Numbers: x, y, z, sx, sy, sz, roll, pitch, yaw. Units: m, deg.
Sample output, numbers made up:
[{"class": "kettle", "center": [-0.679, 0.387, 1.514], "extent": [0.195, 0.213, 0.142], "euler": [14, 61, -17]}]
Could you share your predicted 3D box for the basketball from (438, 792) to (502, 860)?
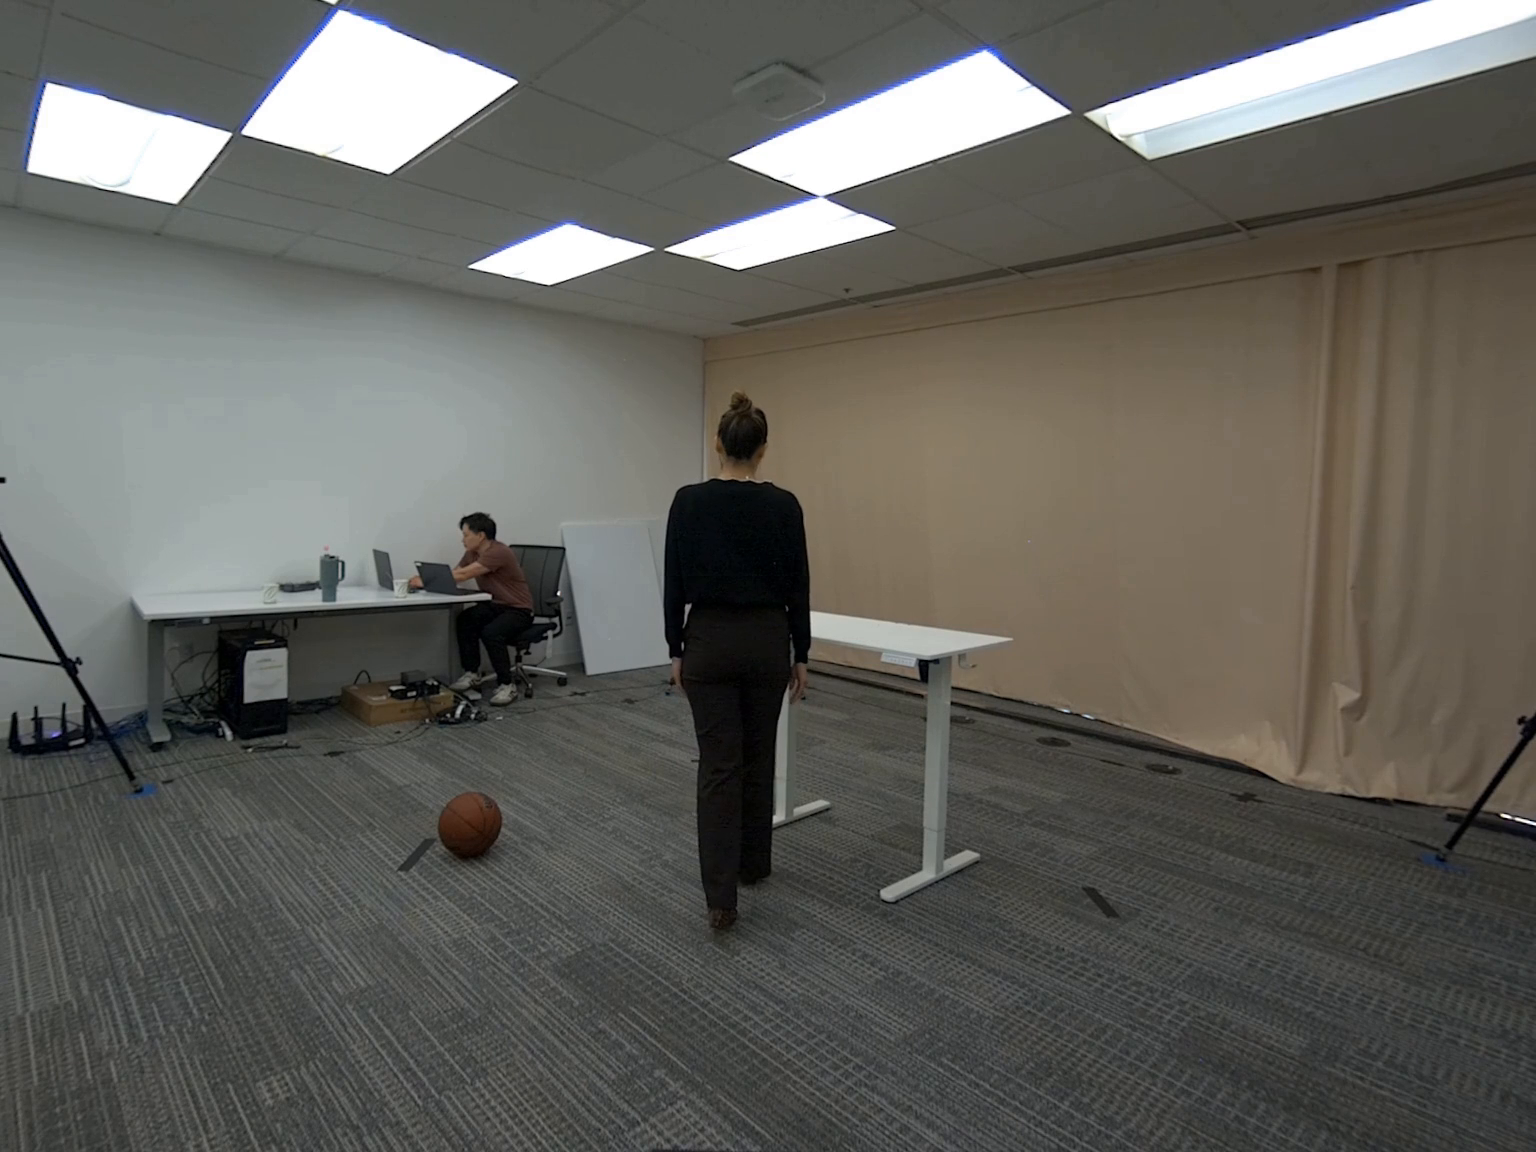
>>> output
[{"class": "basketball", "center": [-1.144, 0.947, 3.238], "extent": [0.236, 0.235, 0.237], "euler": [1, 4, -1]}]
